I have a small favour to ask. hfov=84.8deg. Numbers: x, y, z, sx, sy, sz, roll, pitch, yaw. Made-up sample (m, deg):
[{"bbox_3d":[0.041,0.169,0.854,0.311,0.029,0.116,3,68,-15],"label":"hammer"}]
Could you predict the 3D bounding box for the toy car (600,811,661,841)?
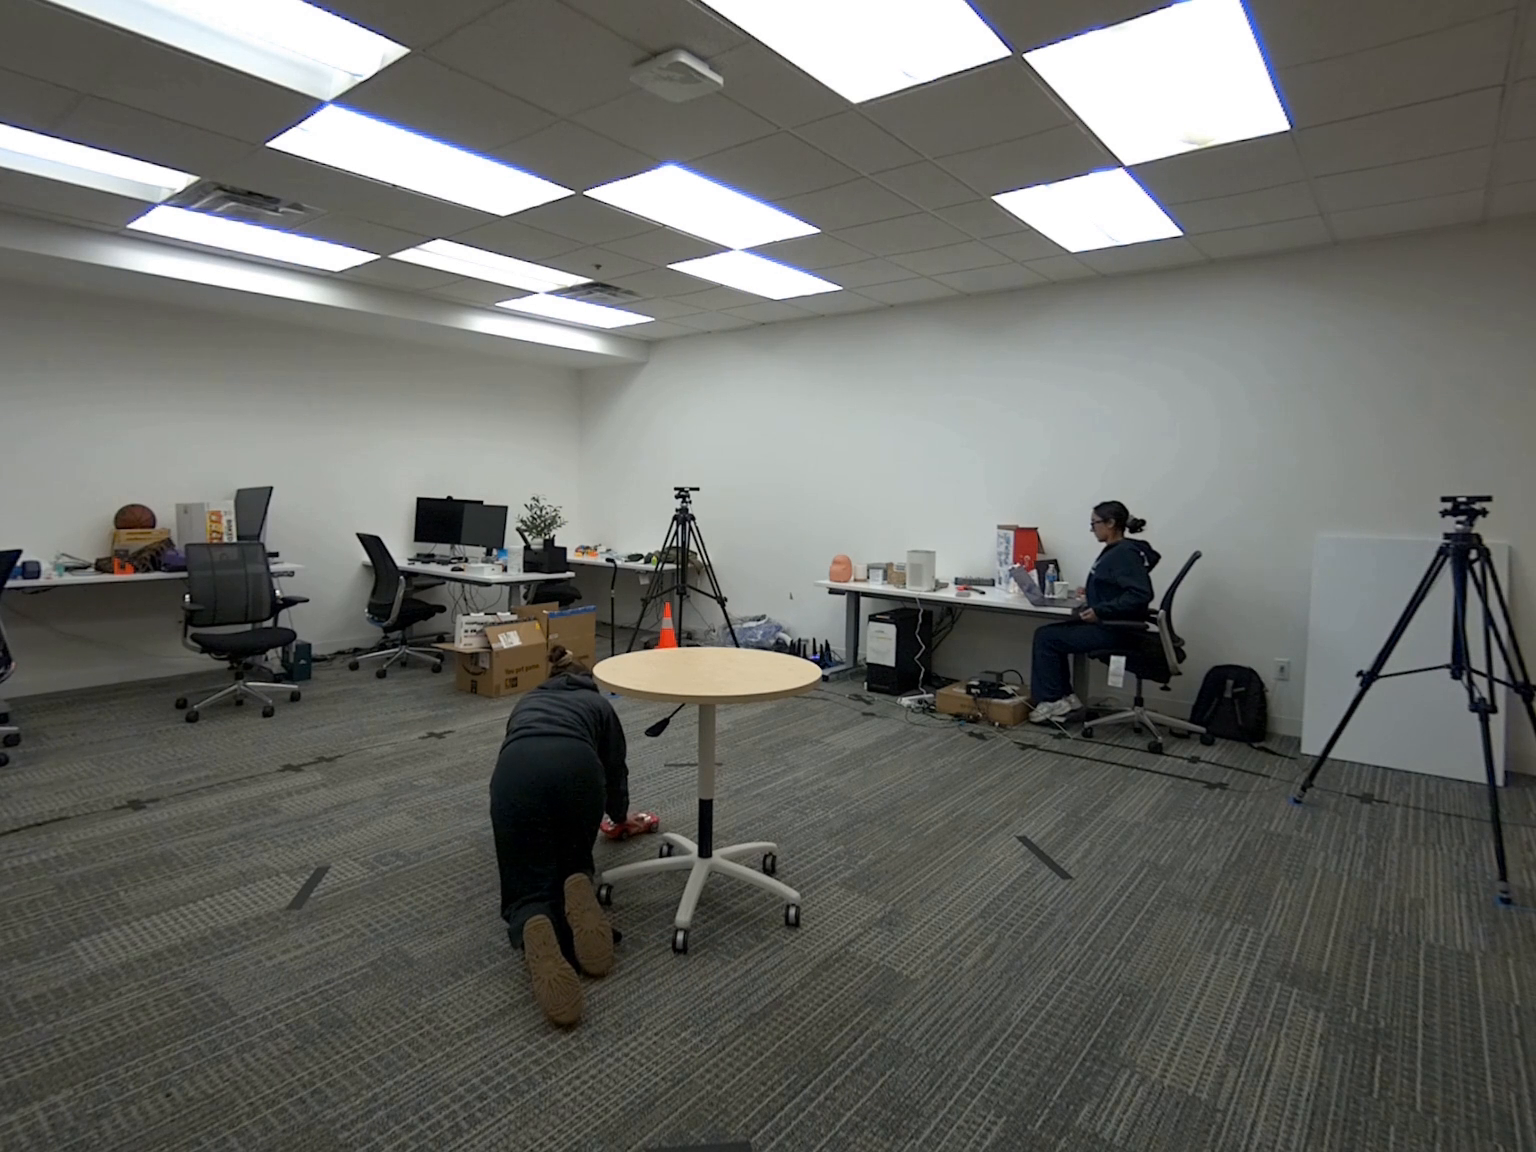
[{"bbox_3d":[-0.561,1.001,3.417,0.245,0.083,0.134,11,-3,-38],"label":"toy car"}]
